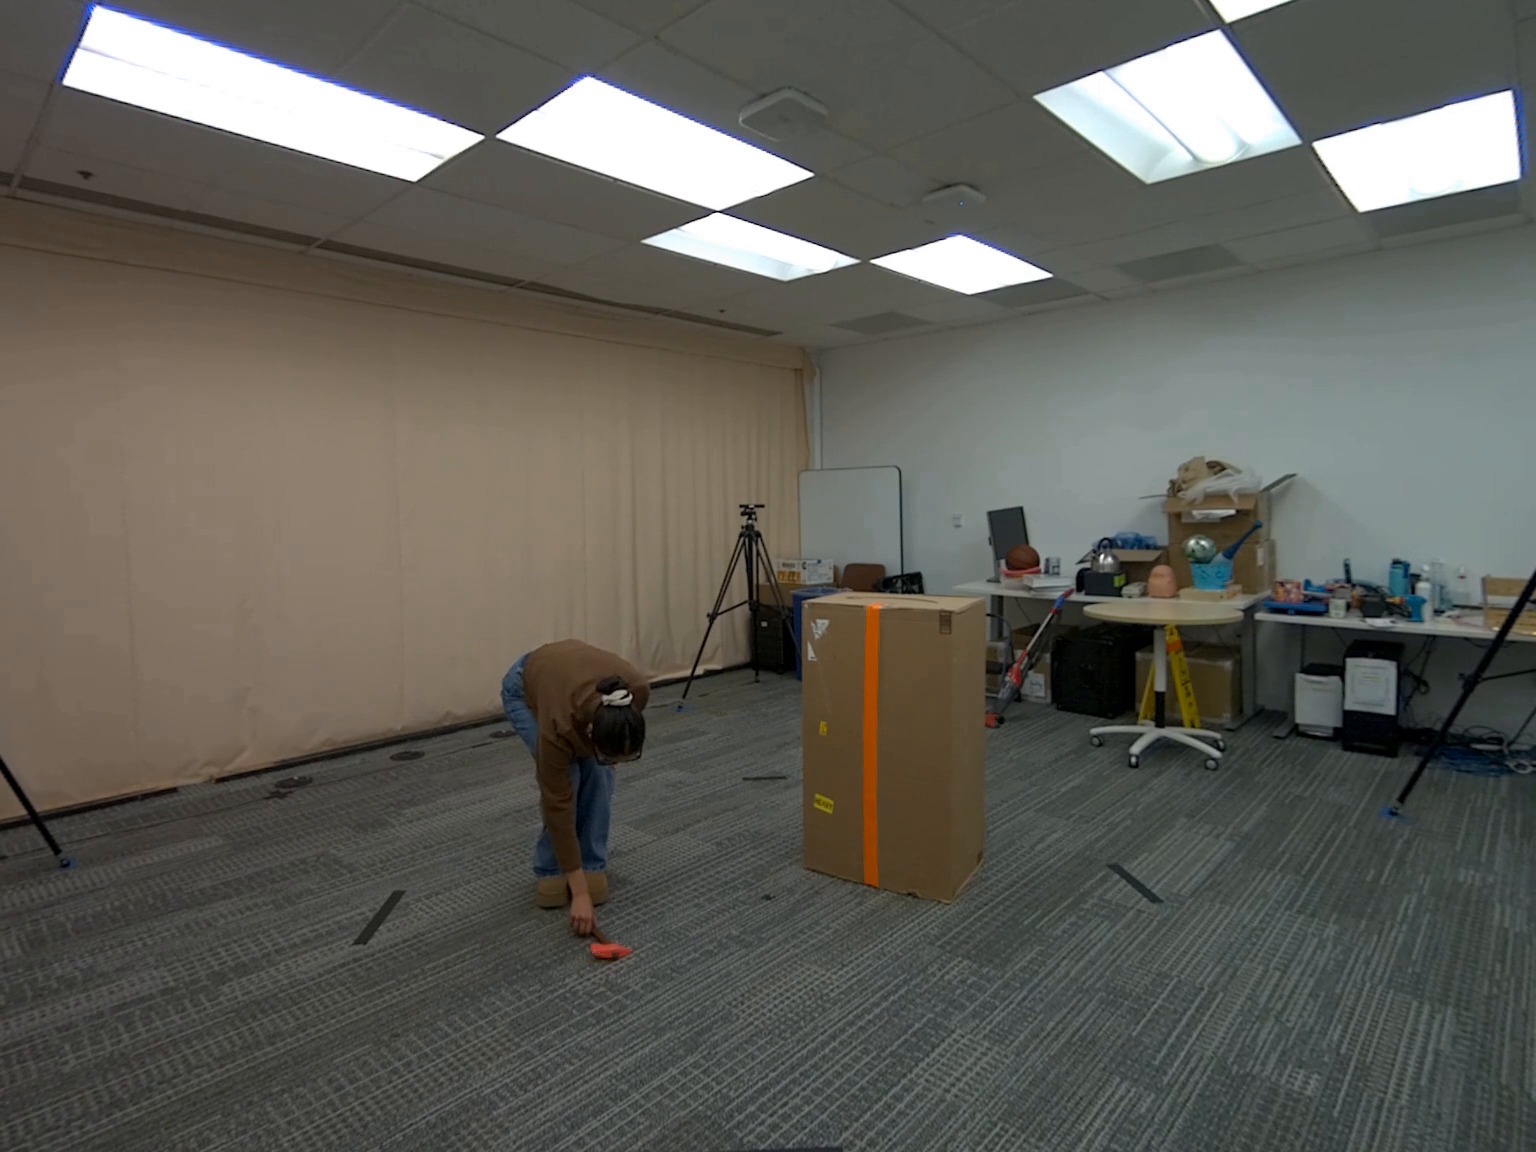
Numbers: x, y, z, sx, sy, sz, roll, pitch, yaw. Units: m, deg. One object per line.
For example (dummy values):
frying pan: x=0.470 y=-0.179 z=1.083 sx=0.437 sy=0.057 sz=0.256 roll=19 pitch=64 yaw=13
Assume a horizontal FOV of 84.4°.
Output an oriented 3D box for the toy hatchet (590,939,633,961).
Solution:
toy hatchet: x=-0.559 y=1.167 z=2.673 sx=0.279 sy=0.029 sz=0.127 roll=2 pitch=-2 yaw=45
